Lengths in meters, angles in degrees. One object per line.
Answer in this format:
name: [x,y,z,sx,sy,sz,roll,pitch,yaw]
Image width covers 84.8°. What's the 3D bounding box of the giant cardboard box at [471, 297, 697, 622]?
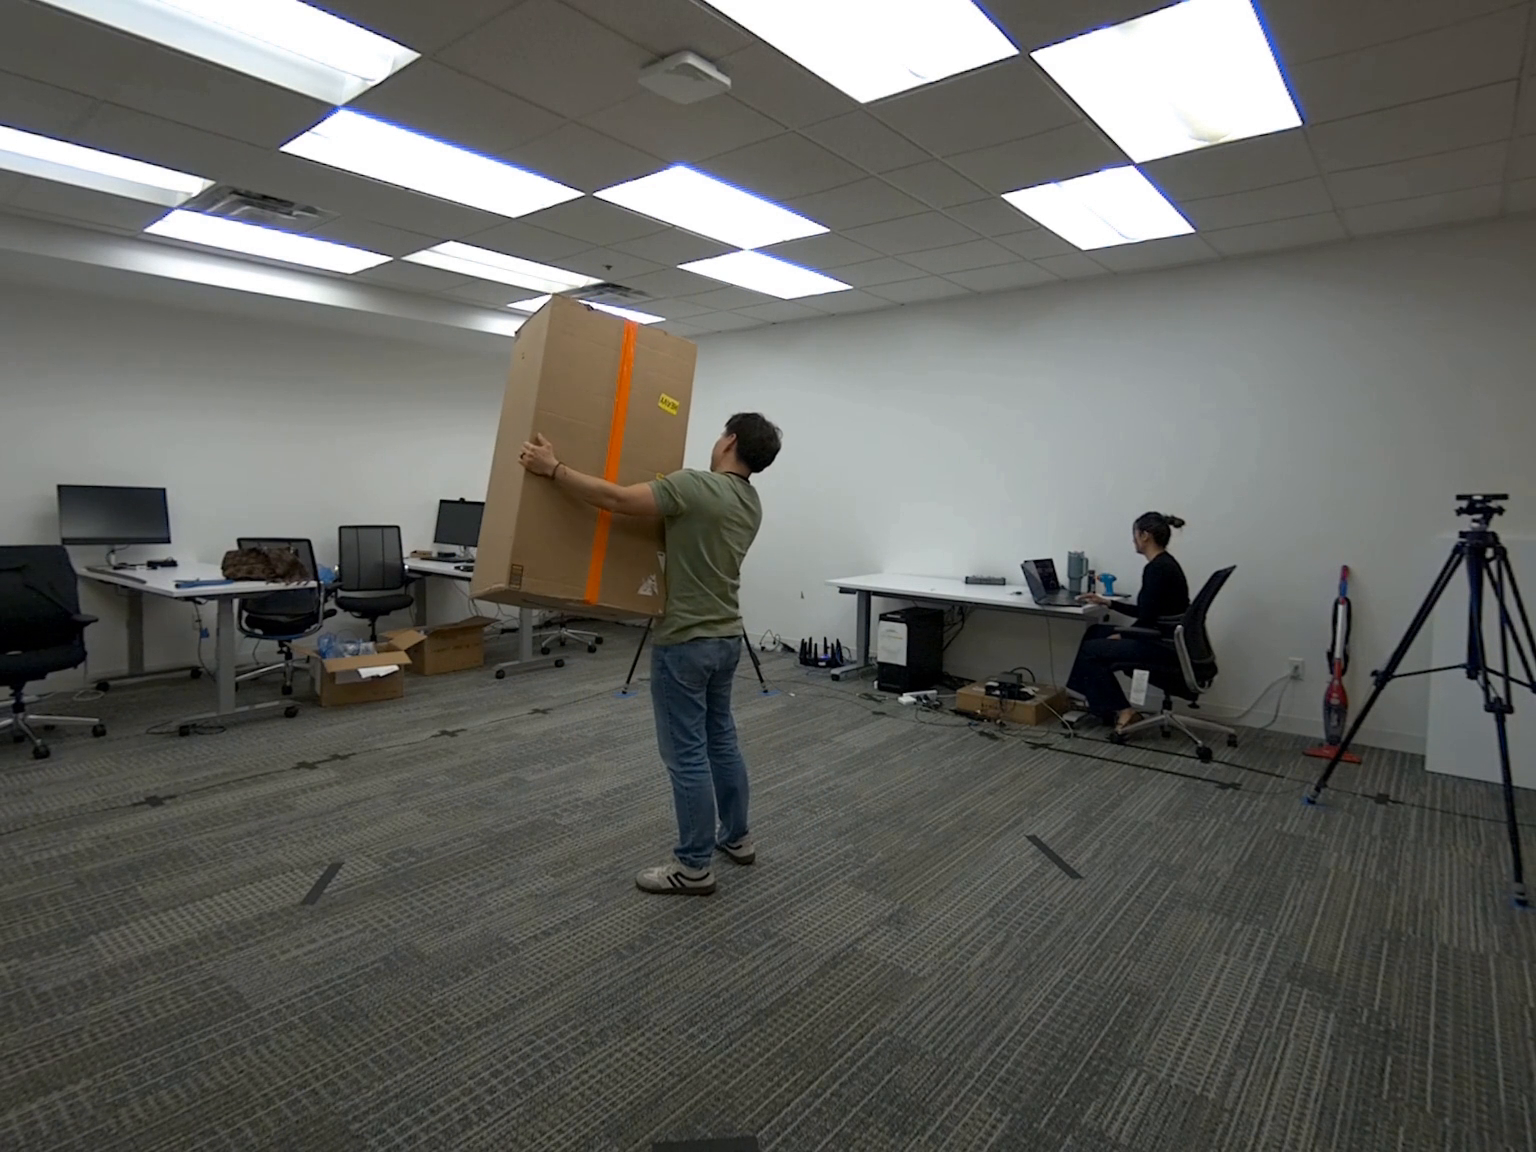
giant cardboard box: [-0.667,-0.396,3.076,0.558,1.037,0.436,14,-14,-32]
